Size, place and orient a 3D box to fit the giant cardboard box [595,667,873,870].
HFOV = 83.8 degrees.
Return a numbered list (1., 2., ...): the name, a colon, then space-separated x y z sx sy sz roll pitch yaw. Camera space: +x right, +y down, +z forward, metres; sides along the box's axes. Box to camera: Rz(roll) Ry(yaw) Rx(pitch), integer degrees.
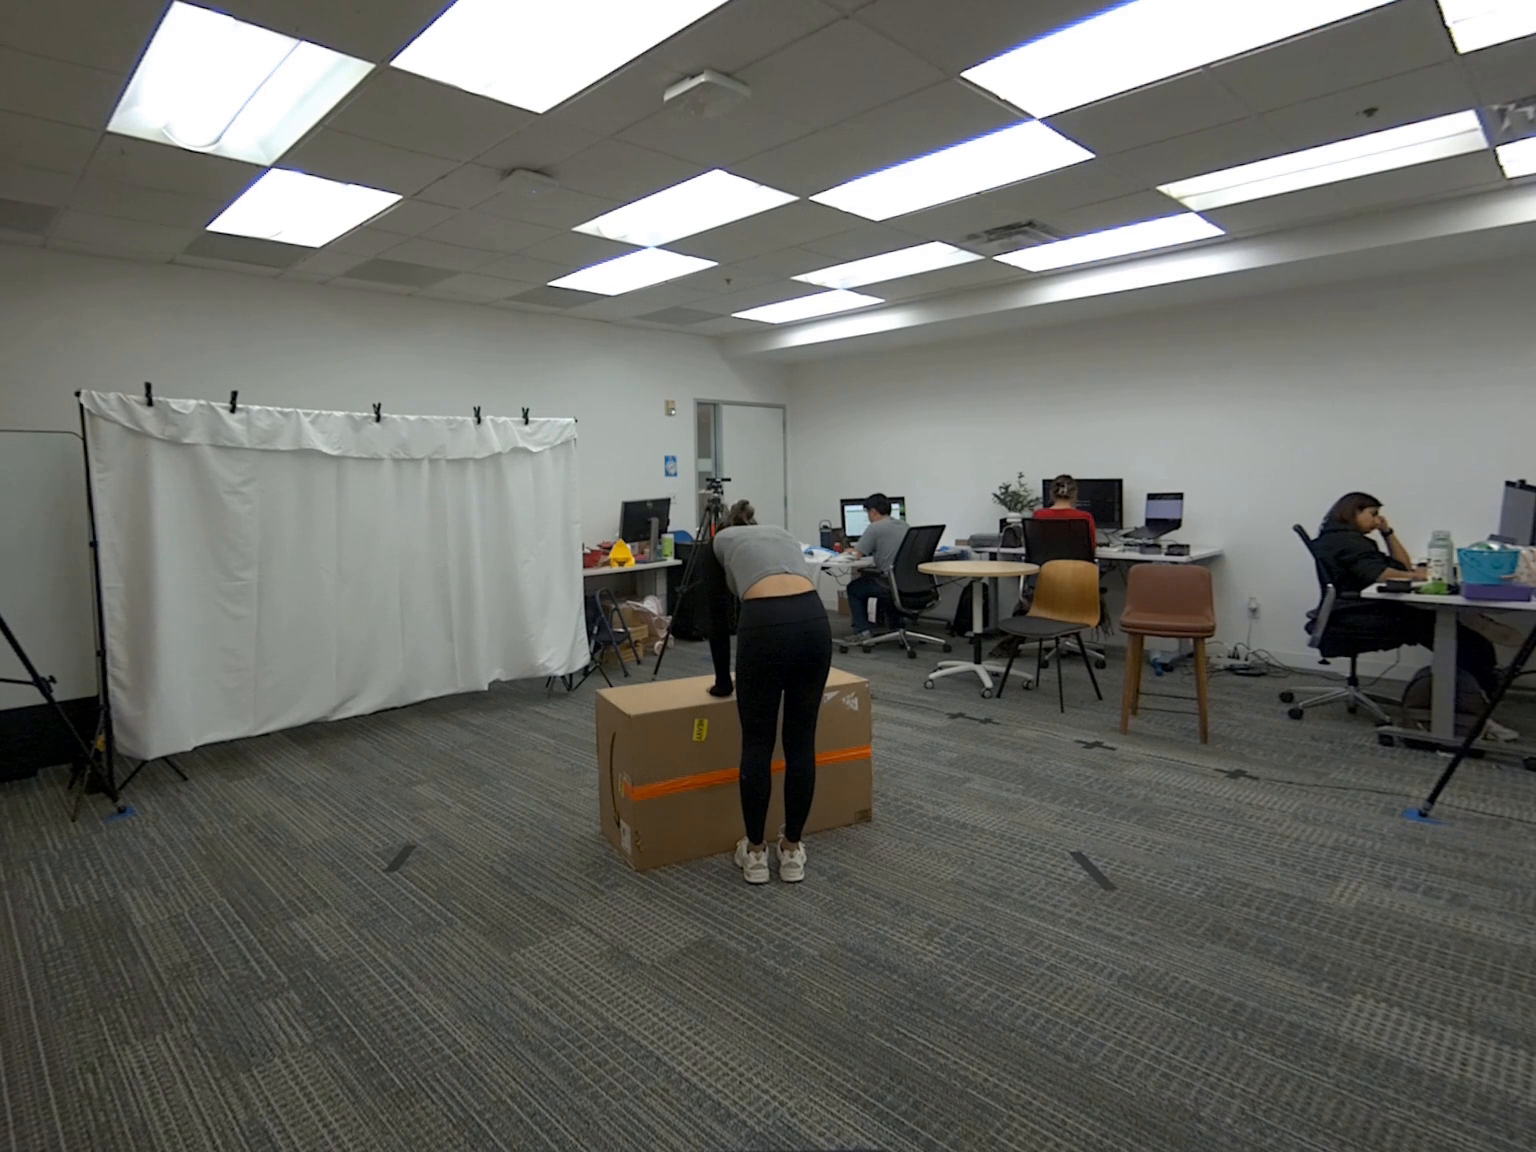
1. giant cardboard box: -0.131 0.719 3.428 1.005 0.575 0.437 -4 5 -25
